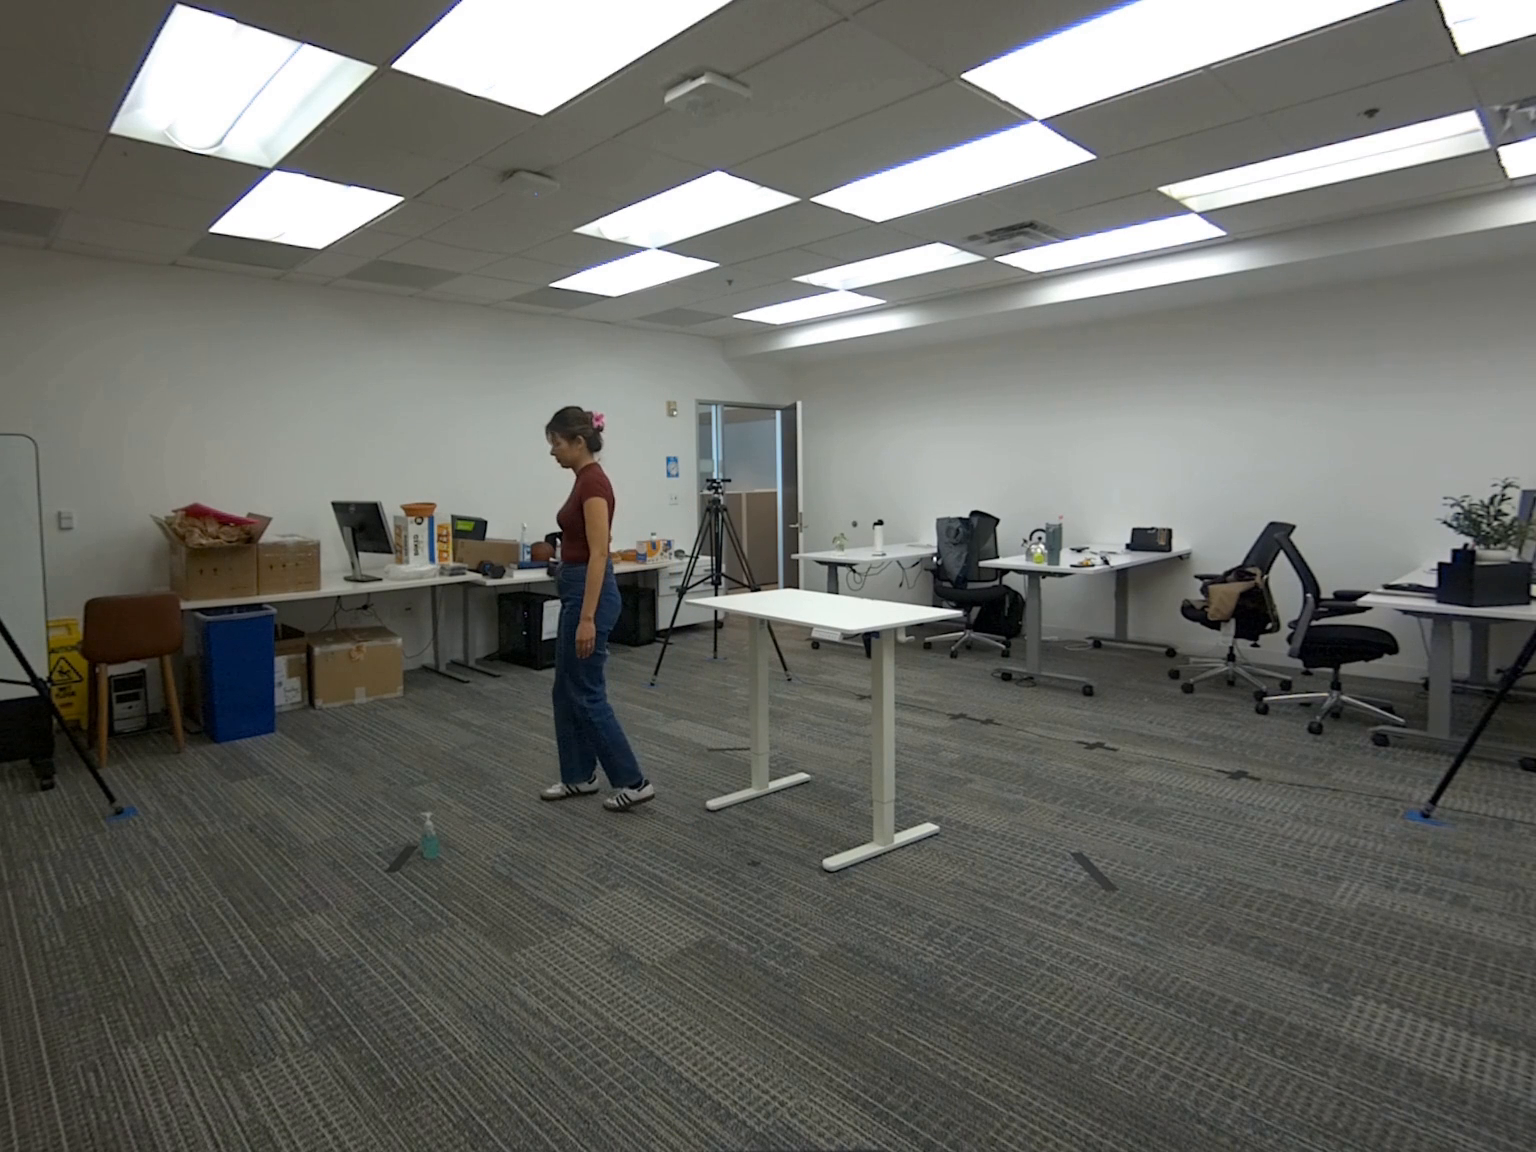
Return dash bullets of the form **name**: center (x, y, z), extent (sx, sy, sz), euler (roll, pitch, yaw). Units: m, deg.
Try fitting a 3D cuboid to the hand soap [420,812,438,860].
- **hand soap**: center (-1.279, 0.979, 3.219), extent (0.086, 0.167, 0.042), euler (1, 7, 27)
